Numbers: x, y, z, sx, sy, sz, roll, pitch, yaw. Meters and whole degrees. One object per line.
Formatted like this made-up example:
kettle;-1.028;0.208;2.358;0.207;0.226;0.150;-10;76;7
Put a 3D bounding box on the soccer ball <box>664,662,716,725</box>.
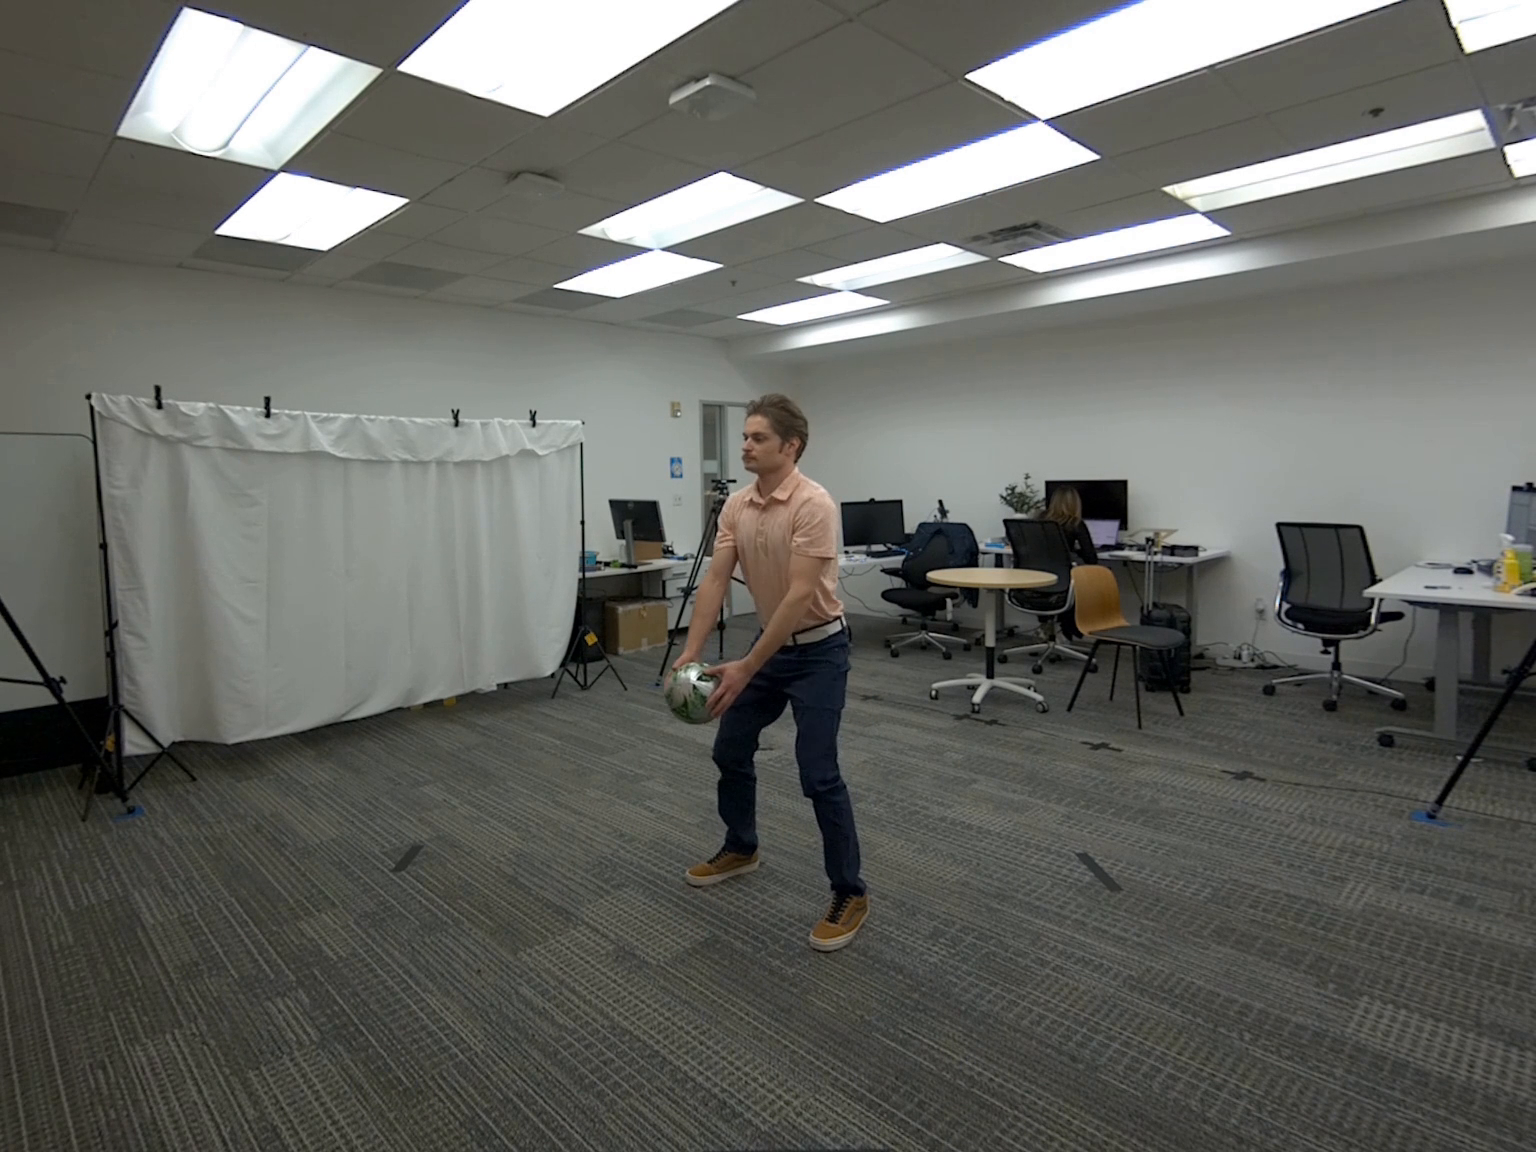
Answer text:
soccer ball;-0.216;0.358;2.570;0.187;0.187;0.188;-1;5;-2
